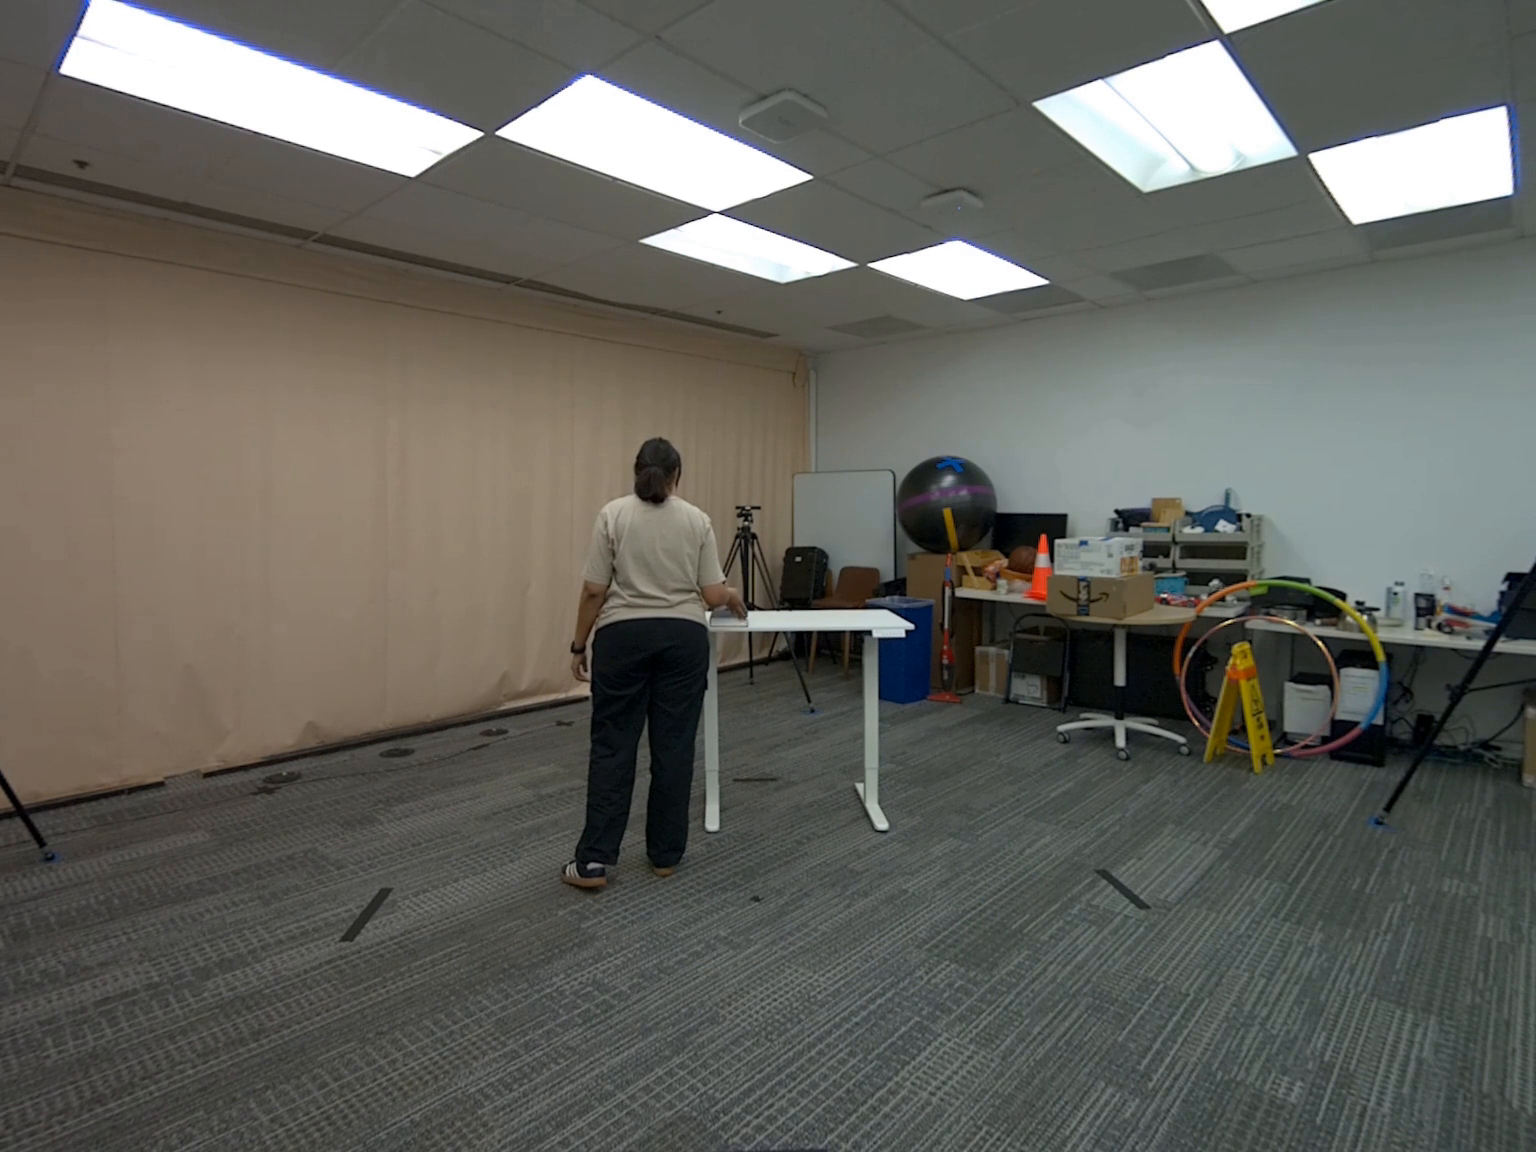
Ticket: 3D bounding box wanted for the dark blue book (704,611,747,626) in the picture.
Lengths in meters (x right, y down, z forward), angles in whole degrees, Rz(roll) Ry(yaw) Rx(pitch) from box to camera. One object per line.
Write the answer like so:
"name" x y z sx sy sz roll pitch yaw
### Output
"dark blue book" -0.164 0.191 3.715 0.163 0.045 0.246 0 5 -1
